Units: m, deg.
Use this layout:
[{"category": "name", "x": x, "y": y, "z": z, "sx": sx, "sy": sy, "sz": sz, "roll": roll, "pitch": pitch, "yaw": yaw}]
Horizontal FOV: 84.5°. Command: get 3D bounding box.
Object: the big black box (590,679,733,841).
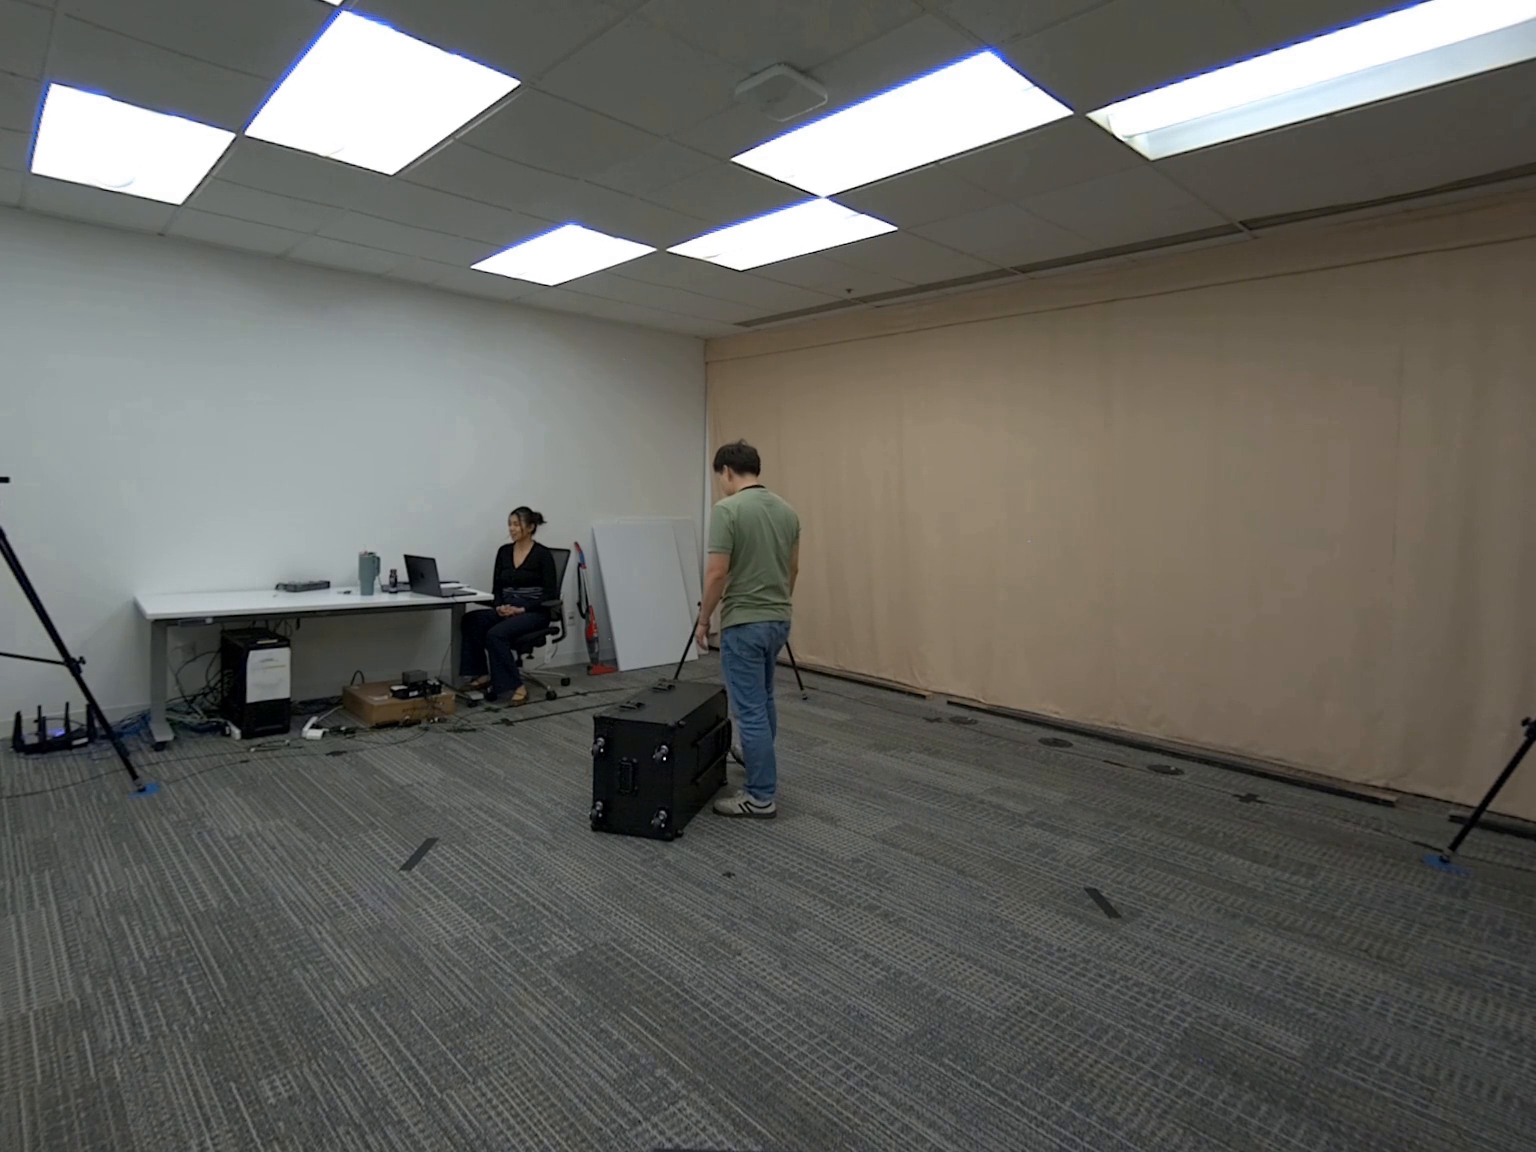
[{"category": "big black box", "x": -0.450, "y": 0.787, "z": 3.810, "sx": 0.401, "sy": 0.520, "sz": 0.854, "roll": 2, "pitch": 4, "yaw": 13}]
